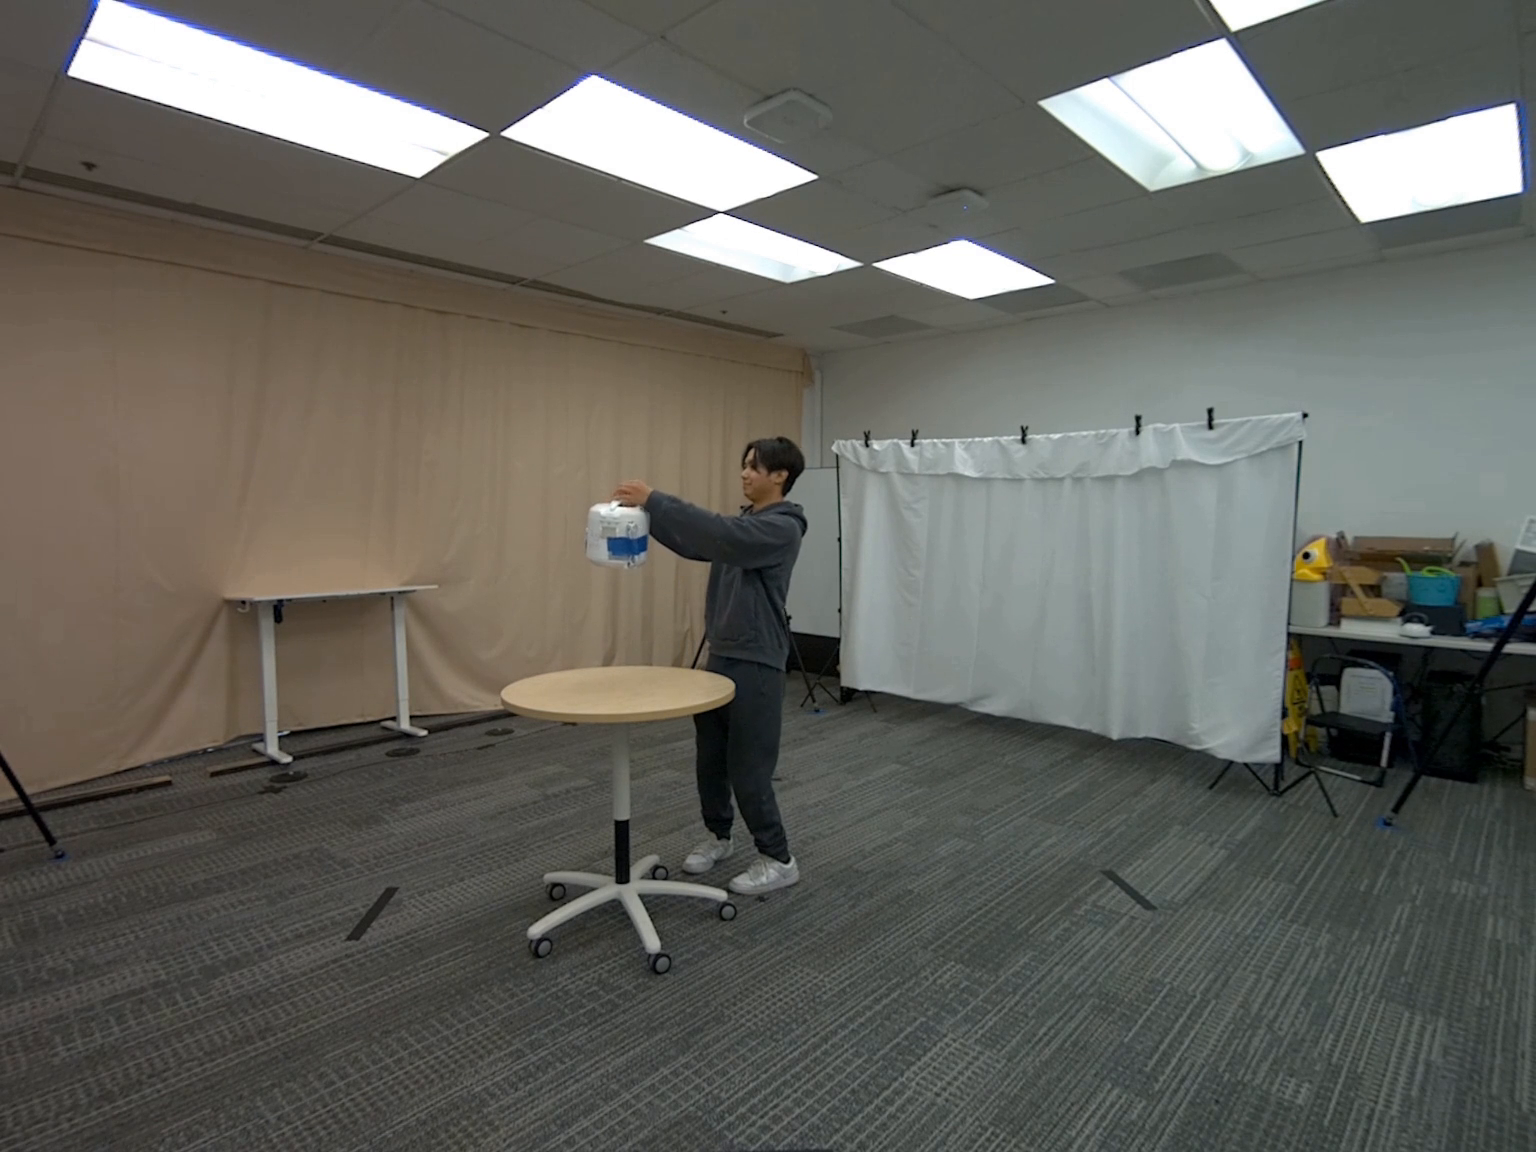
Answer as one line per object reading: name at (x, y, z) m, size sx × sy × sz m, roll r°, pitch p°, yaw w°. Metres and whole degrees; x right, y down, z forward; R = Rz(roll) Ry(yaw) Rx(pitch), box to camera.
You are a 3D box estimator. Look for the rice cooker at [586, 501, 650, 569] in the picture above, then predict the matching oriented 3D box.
rice cooker at (-0.510, -0.150, 2.900) m, size 0.220 × 0.232 × 0.219 m, roll 6°, pitch 6°, yaw 9°
